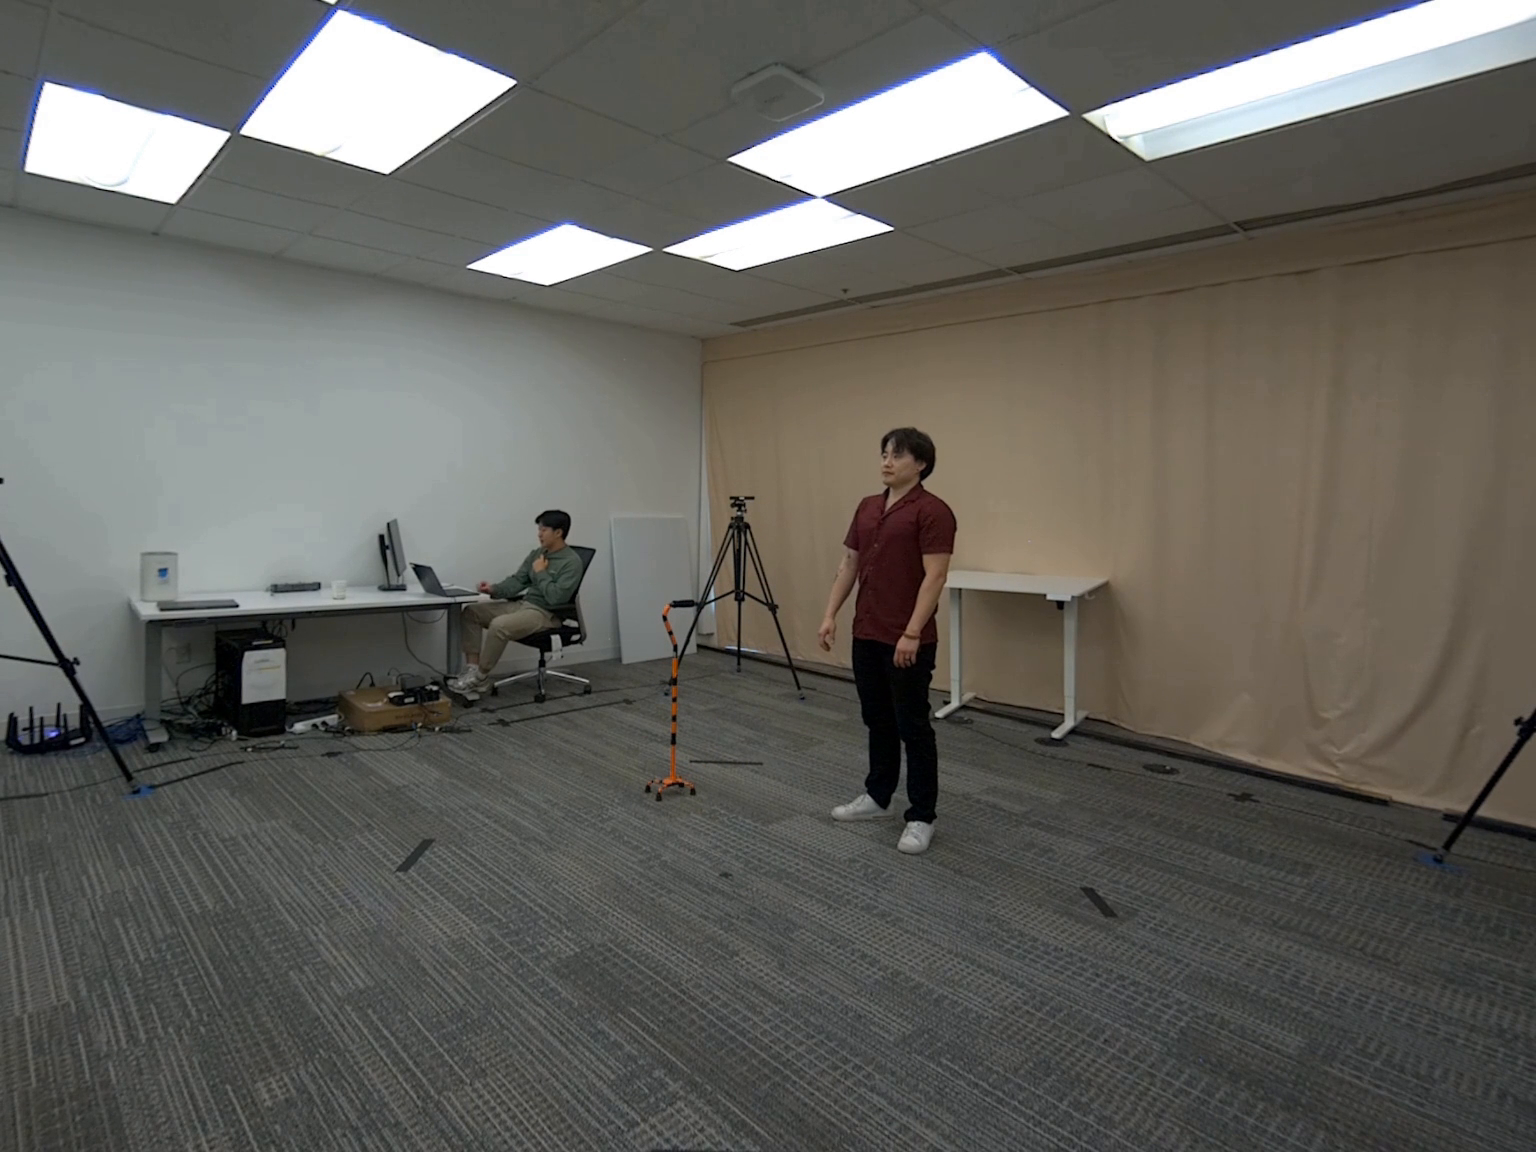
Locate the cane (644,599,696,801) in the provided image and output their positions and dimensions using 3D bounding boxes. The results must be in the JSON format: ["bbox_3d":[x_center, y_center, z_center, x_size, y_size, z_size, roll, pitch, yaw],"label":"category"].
[{"bbox_3d":[-0.446,0.564,3.933,0.202,0.906,0.155,1,3,-30],"label":"cane"}]
